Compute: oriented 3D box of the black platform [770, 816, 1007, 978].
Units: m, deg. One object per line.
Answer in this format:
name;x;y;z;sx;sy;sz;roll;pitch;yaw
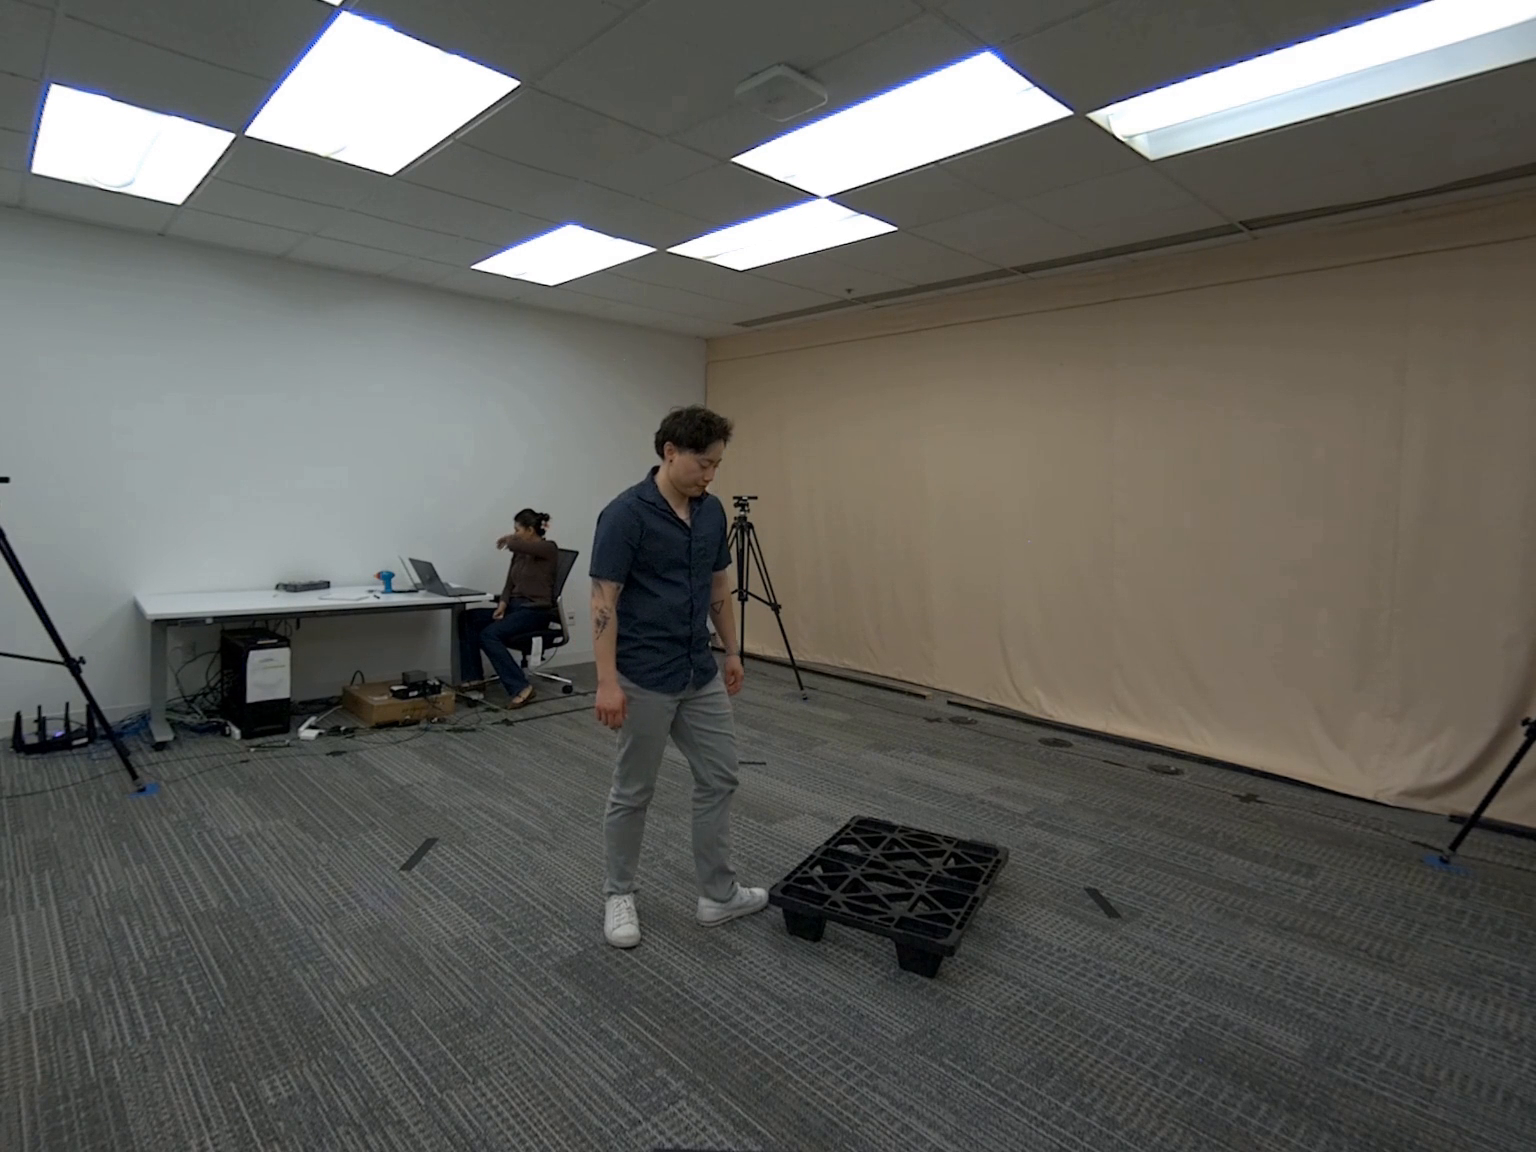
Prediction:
black platform;0.424;1.065;2.884;0.618;0.143;0.791;4;5;28
